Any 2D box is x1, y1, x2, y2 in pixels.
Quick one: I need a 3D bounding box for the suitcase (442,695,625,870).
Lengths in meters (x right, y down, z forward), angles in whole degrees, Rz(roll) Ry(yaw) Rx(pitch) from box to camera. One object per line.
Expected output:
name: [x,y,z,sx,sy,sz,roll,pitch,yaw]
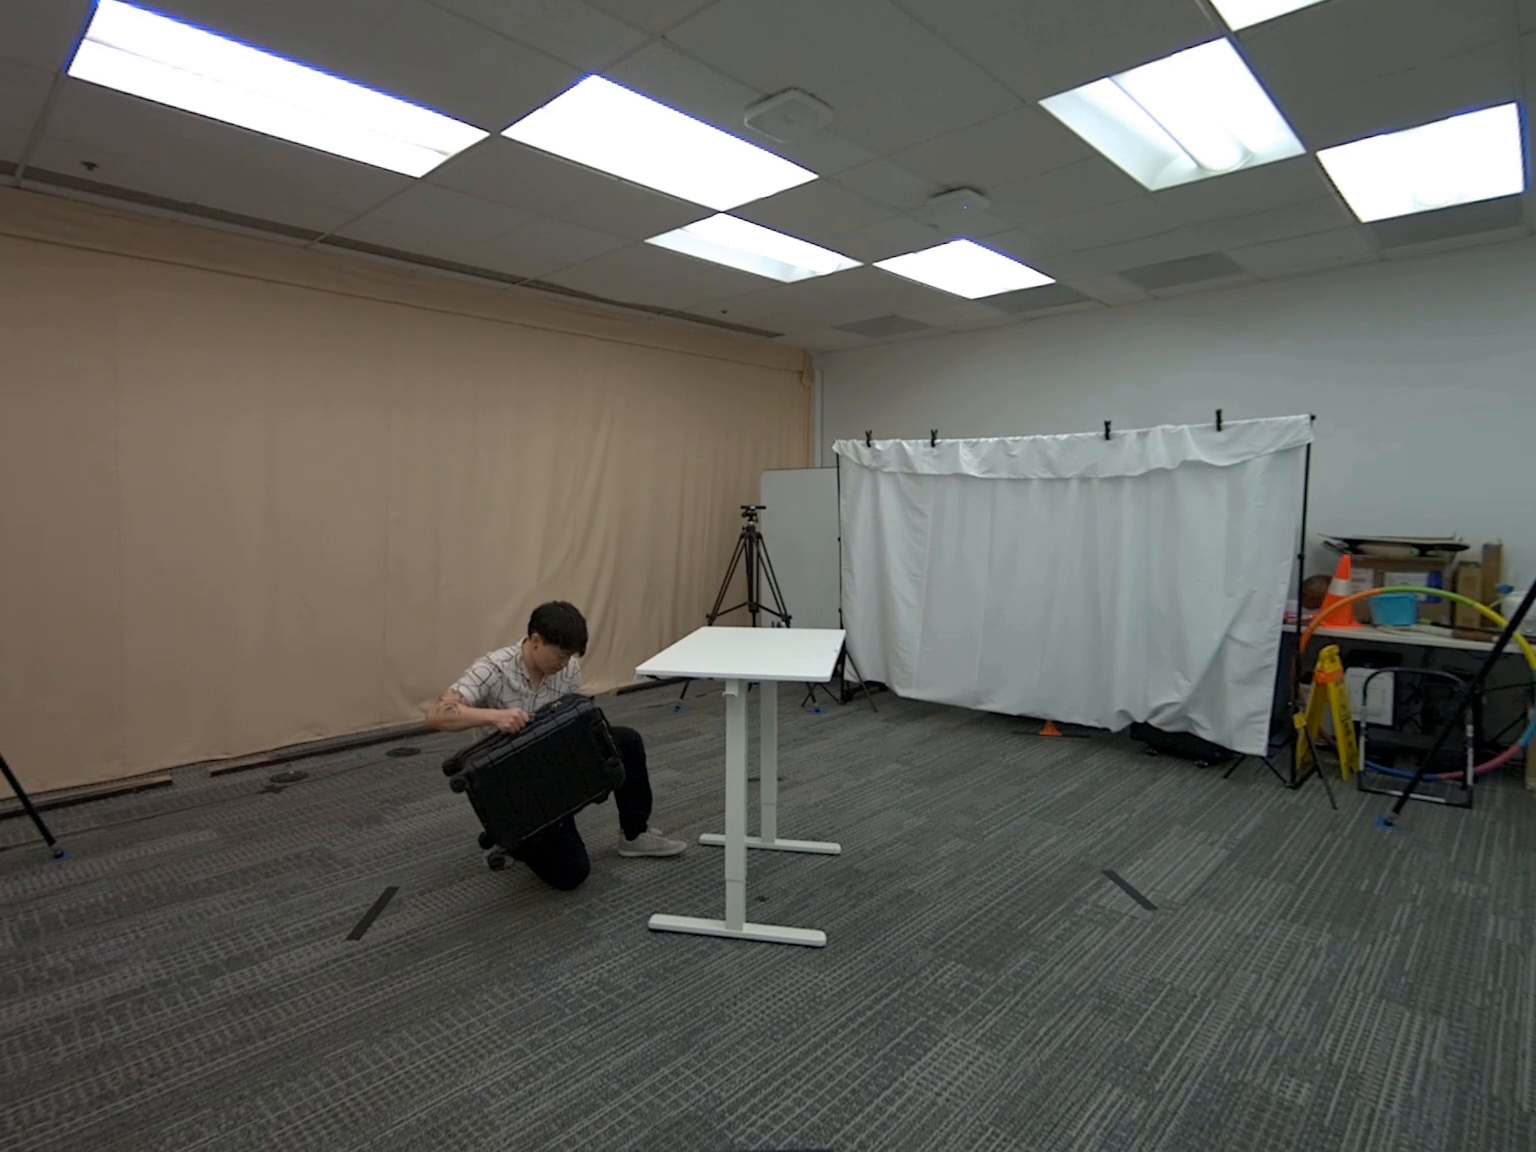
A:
suitcase: [-0.788,0.668,2.906,0.542,0.371,0.254,-28,12,-23]
